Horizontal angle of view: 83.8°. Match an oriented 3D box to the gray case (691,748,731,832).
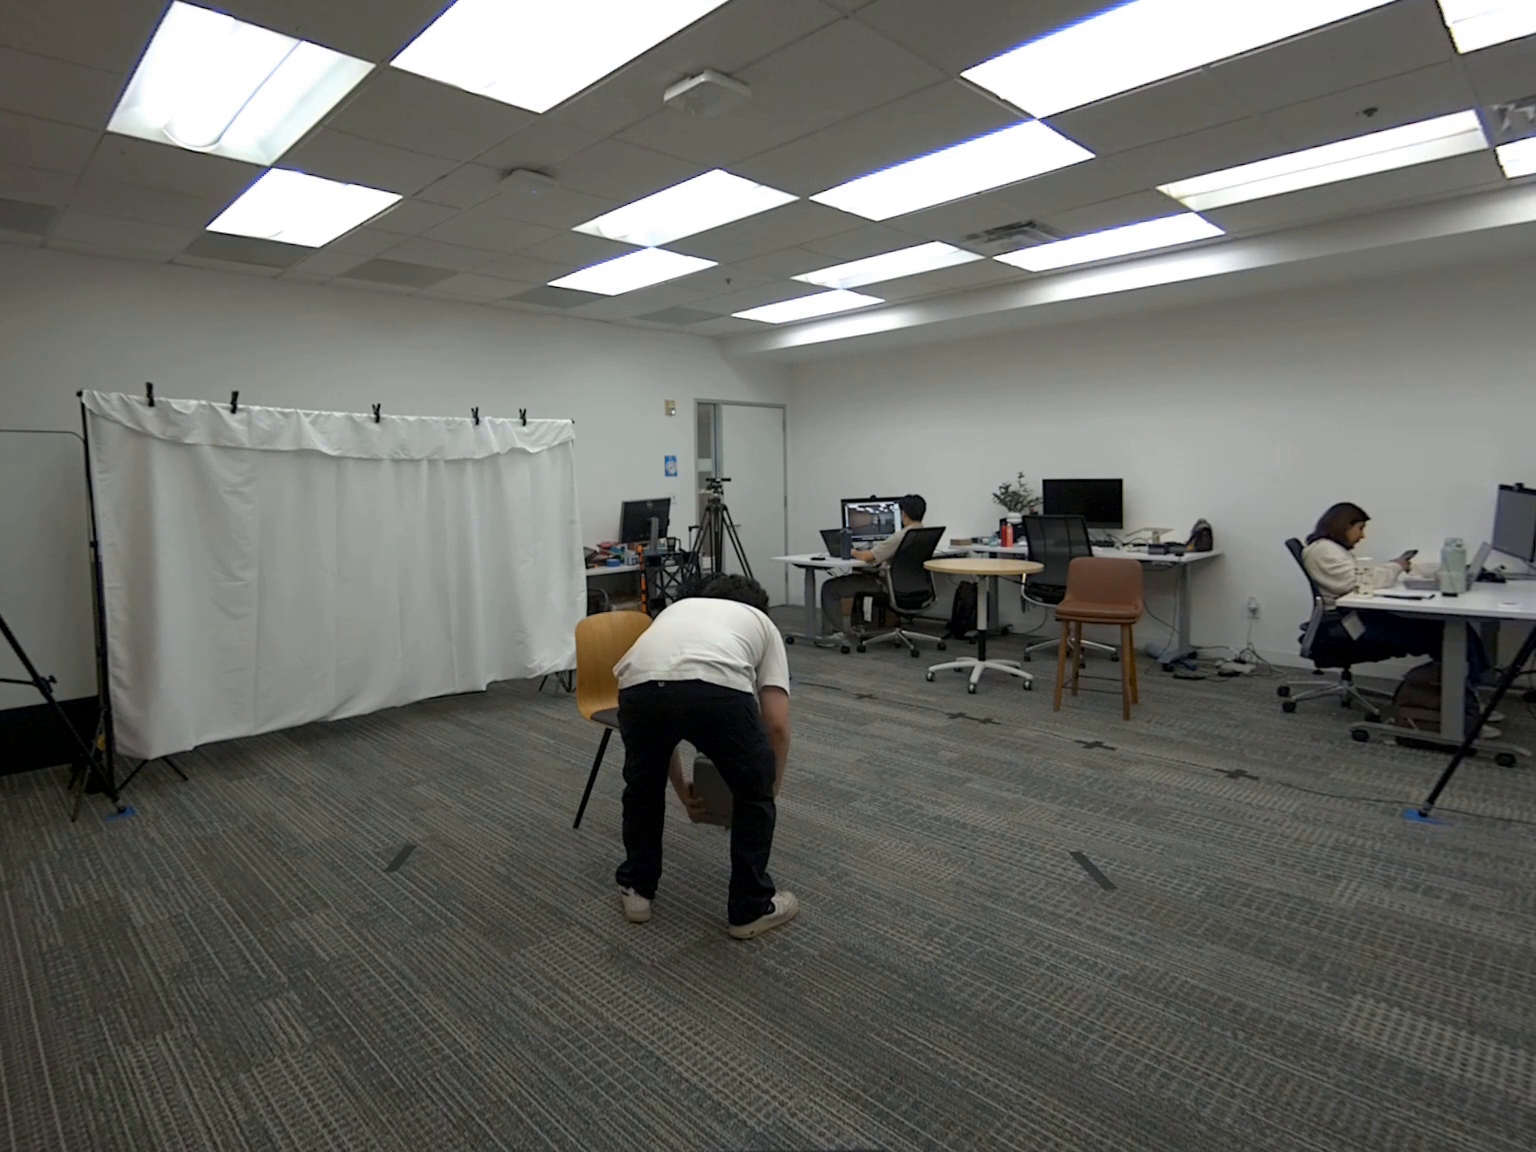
[{"bbox_3d":[-0.130,0.732,2.962,0.259,0.258,0.104,3,10,6],"label":"gray case"}]
